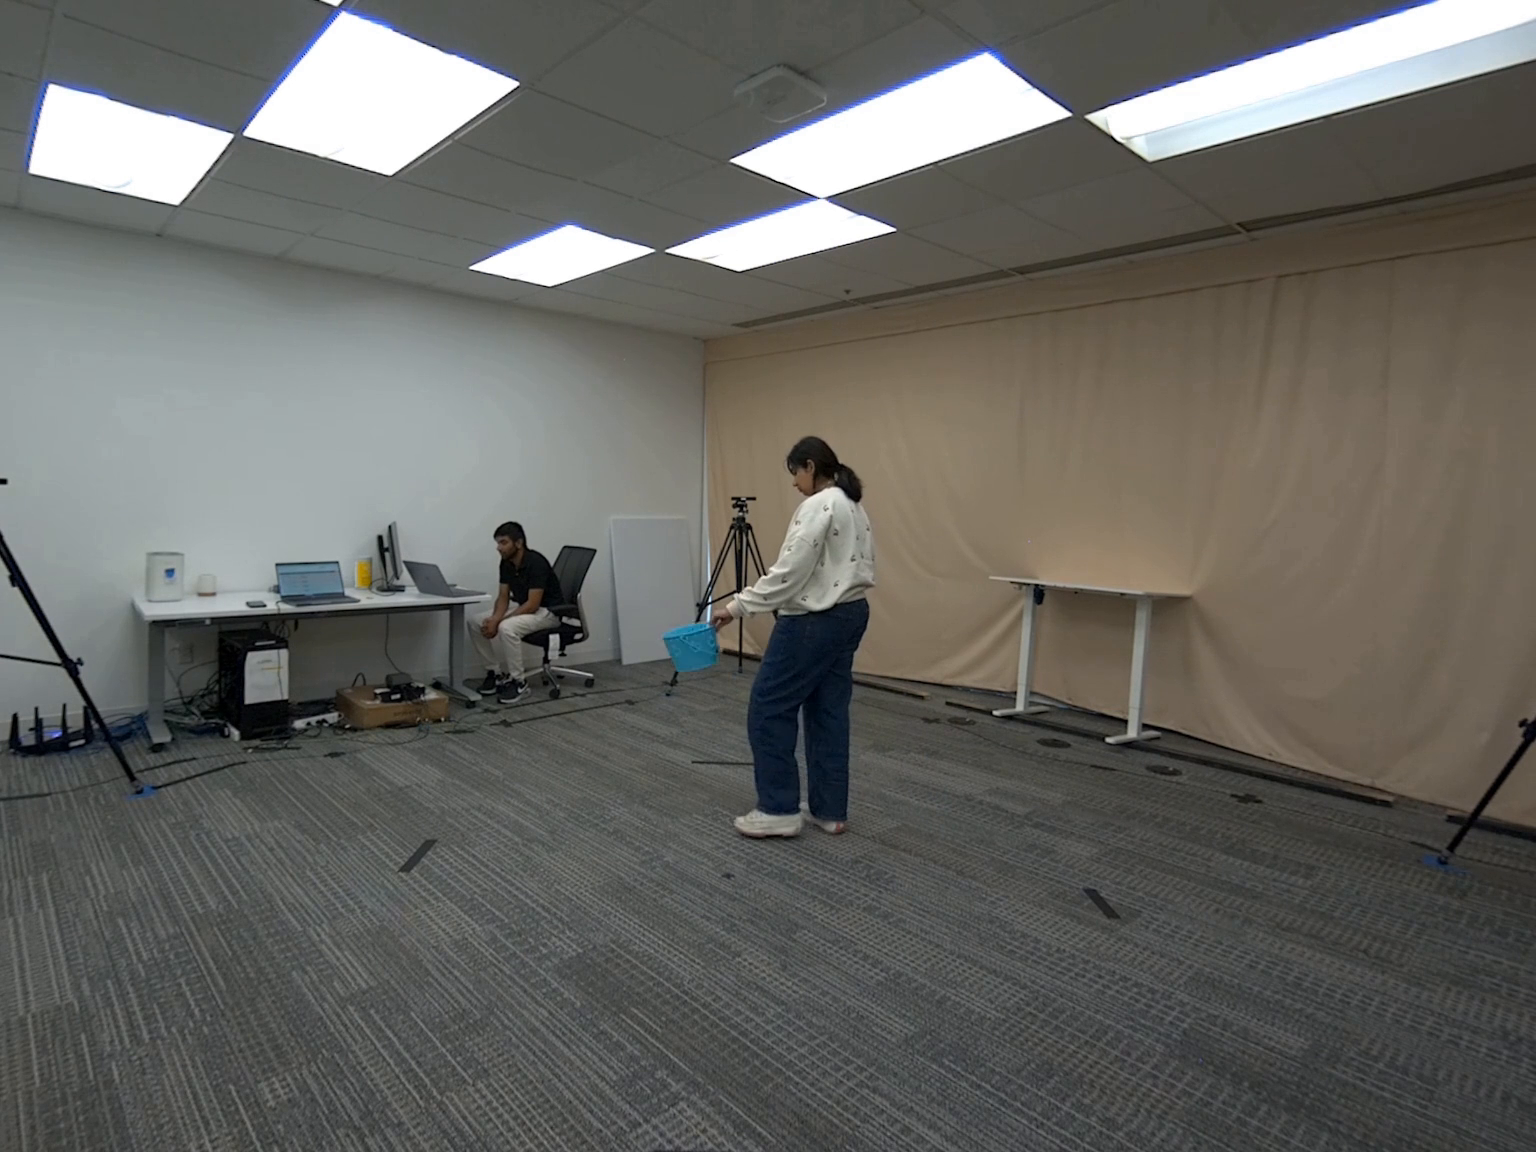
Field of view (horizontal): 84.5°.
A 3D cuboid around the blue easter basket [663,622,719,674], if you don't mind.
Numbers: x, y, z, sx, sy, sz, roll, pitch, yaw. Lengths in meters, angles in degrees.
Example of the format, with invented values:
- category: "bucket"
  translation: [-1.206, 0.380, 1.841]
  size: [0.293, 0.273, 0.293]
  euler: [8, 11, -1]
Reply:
- category: "blue easter basket"
  translation: [-0.292, 0.303, 3.421]
  size: [0.243, 0.155, 0.244]
  euler: [-14, 5, 0]
